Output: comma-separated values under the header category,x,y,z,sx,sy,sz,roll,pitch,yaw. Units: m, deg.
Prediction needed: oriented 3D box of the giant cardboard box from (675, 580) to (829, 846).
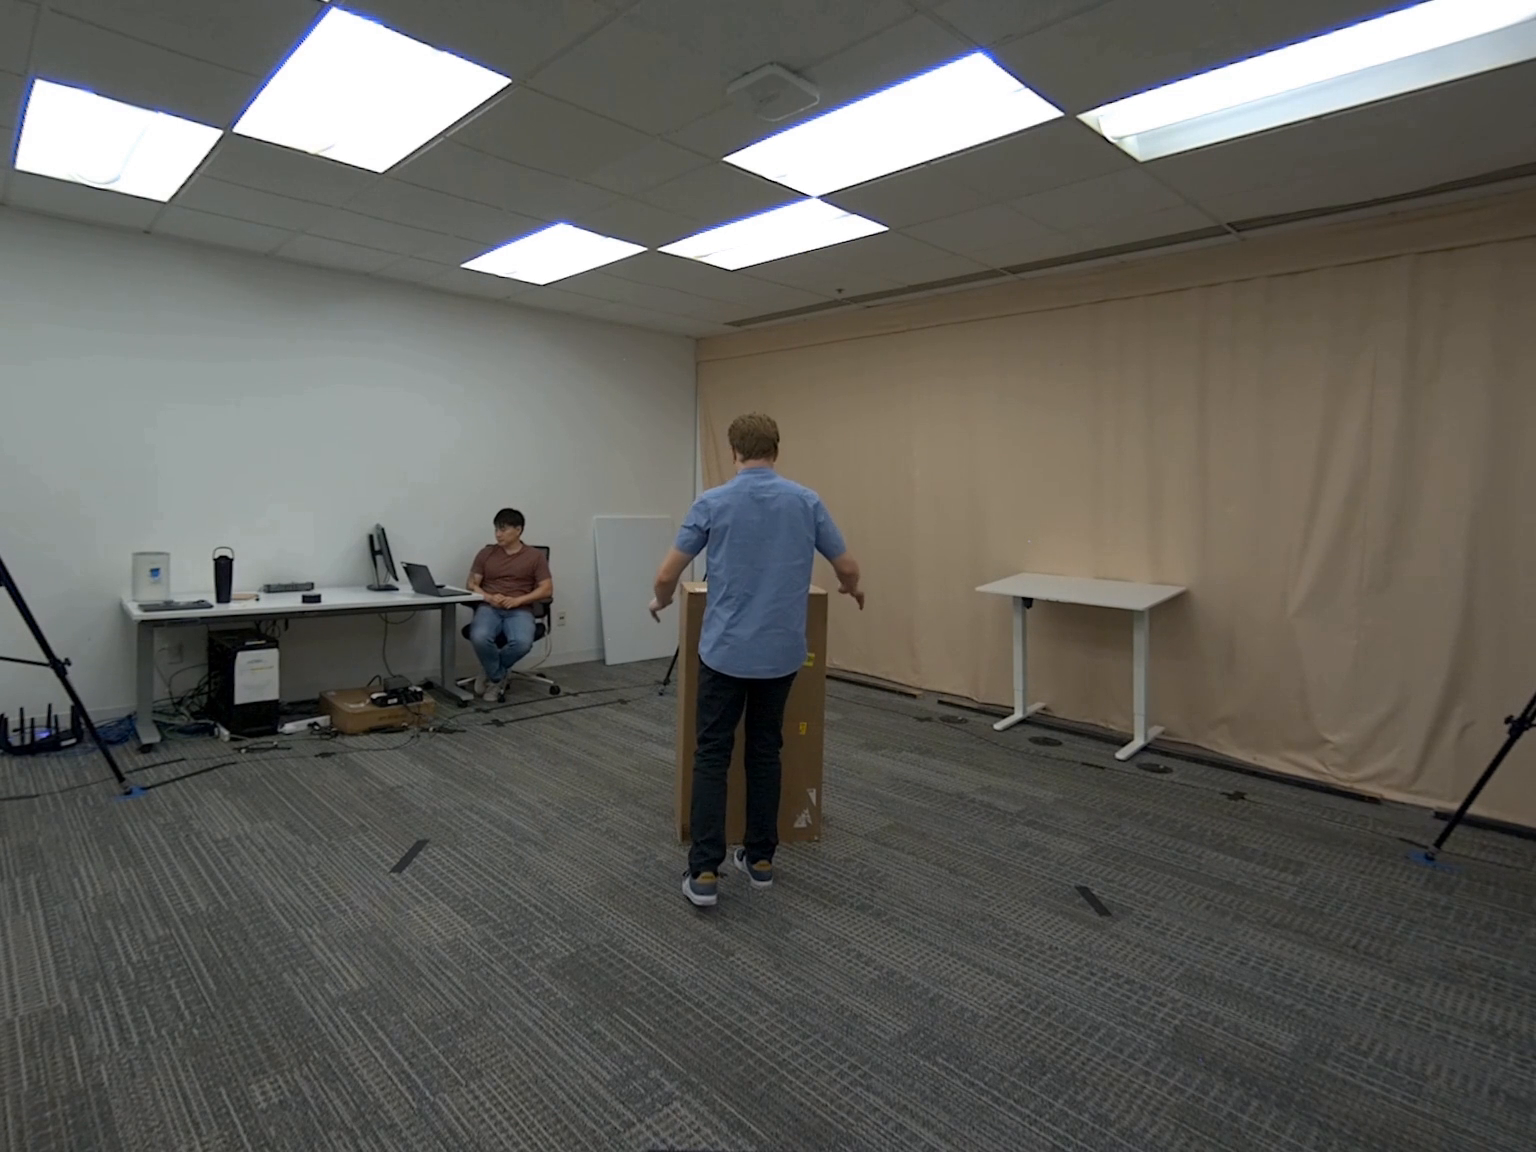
category,x,y,z,sx,sy,sz,roll,pitch,yaw
giant cardboard box,-0.087,0.554,3.580,0.581,1.025,0.450,1,3,-7
